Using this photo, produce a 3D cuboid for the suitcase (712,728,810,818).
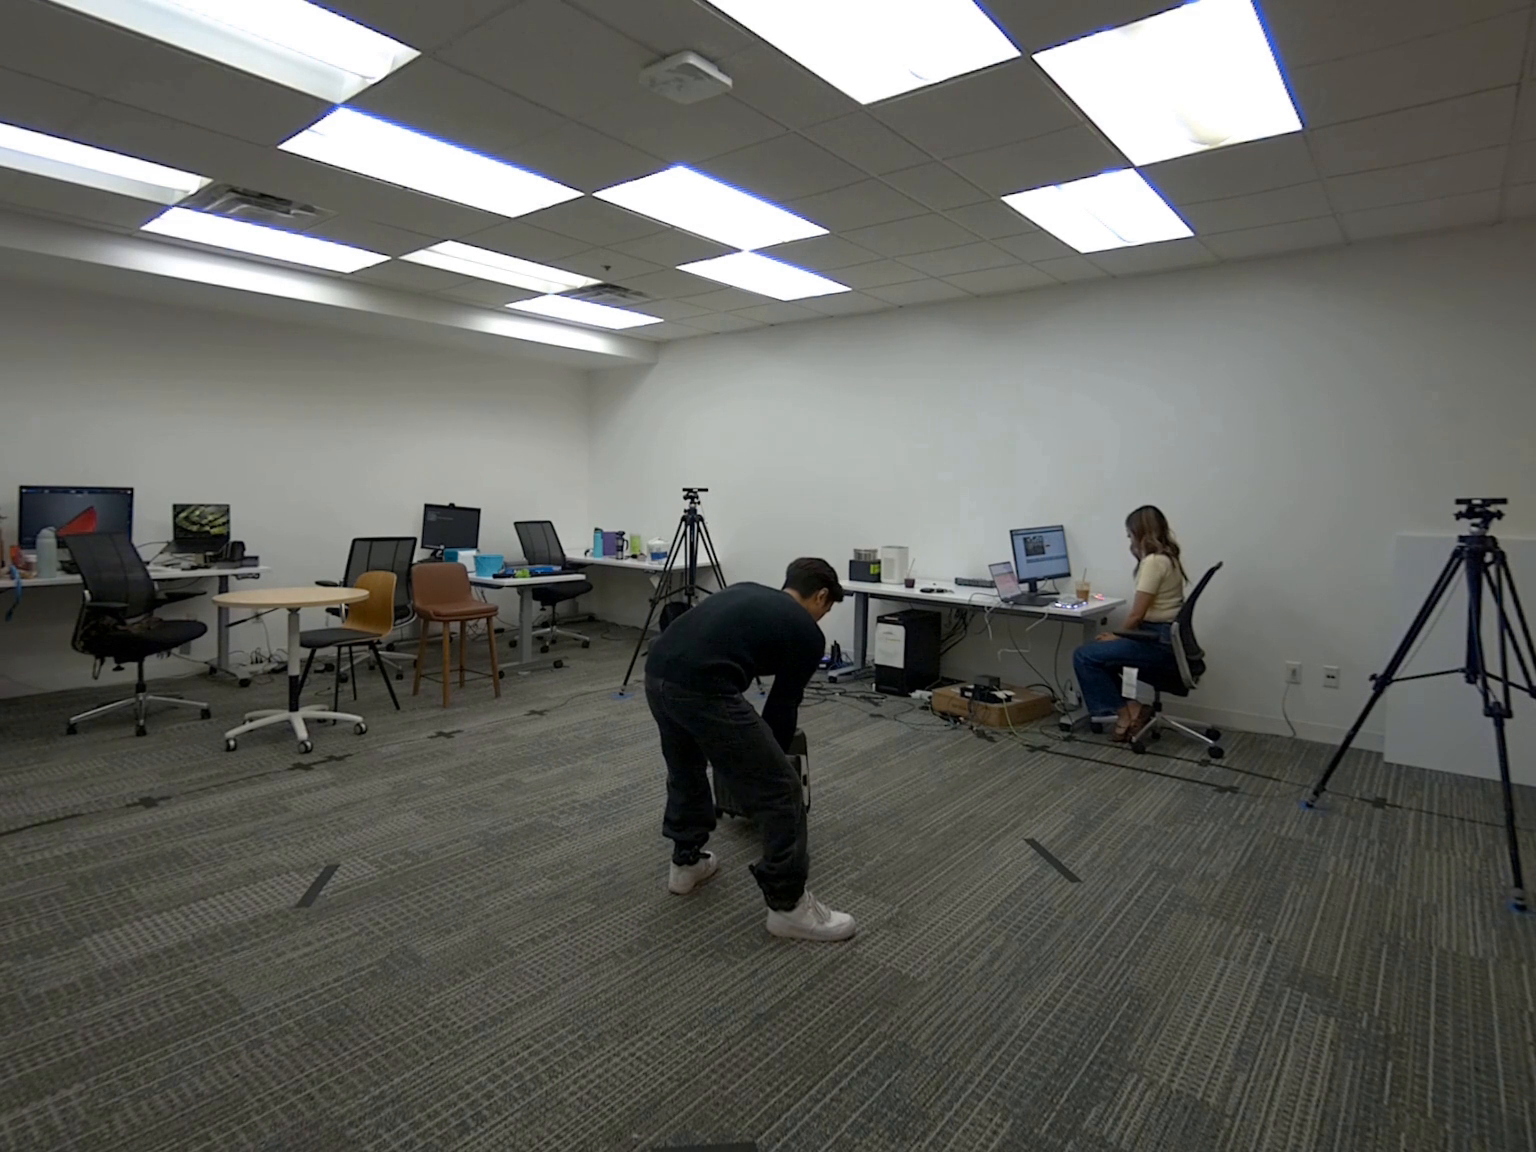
[{"bbox_3d":[0.029,0.746,3.259,0.251,0.389,0.988,1,-11,-22],"label":"suitcase"}]
